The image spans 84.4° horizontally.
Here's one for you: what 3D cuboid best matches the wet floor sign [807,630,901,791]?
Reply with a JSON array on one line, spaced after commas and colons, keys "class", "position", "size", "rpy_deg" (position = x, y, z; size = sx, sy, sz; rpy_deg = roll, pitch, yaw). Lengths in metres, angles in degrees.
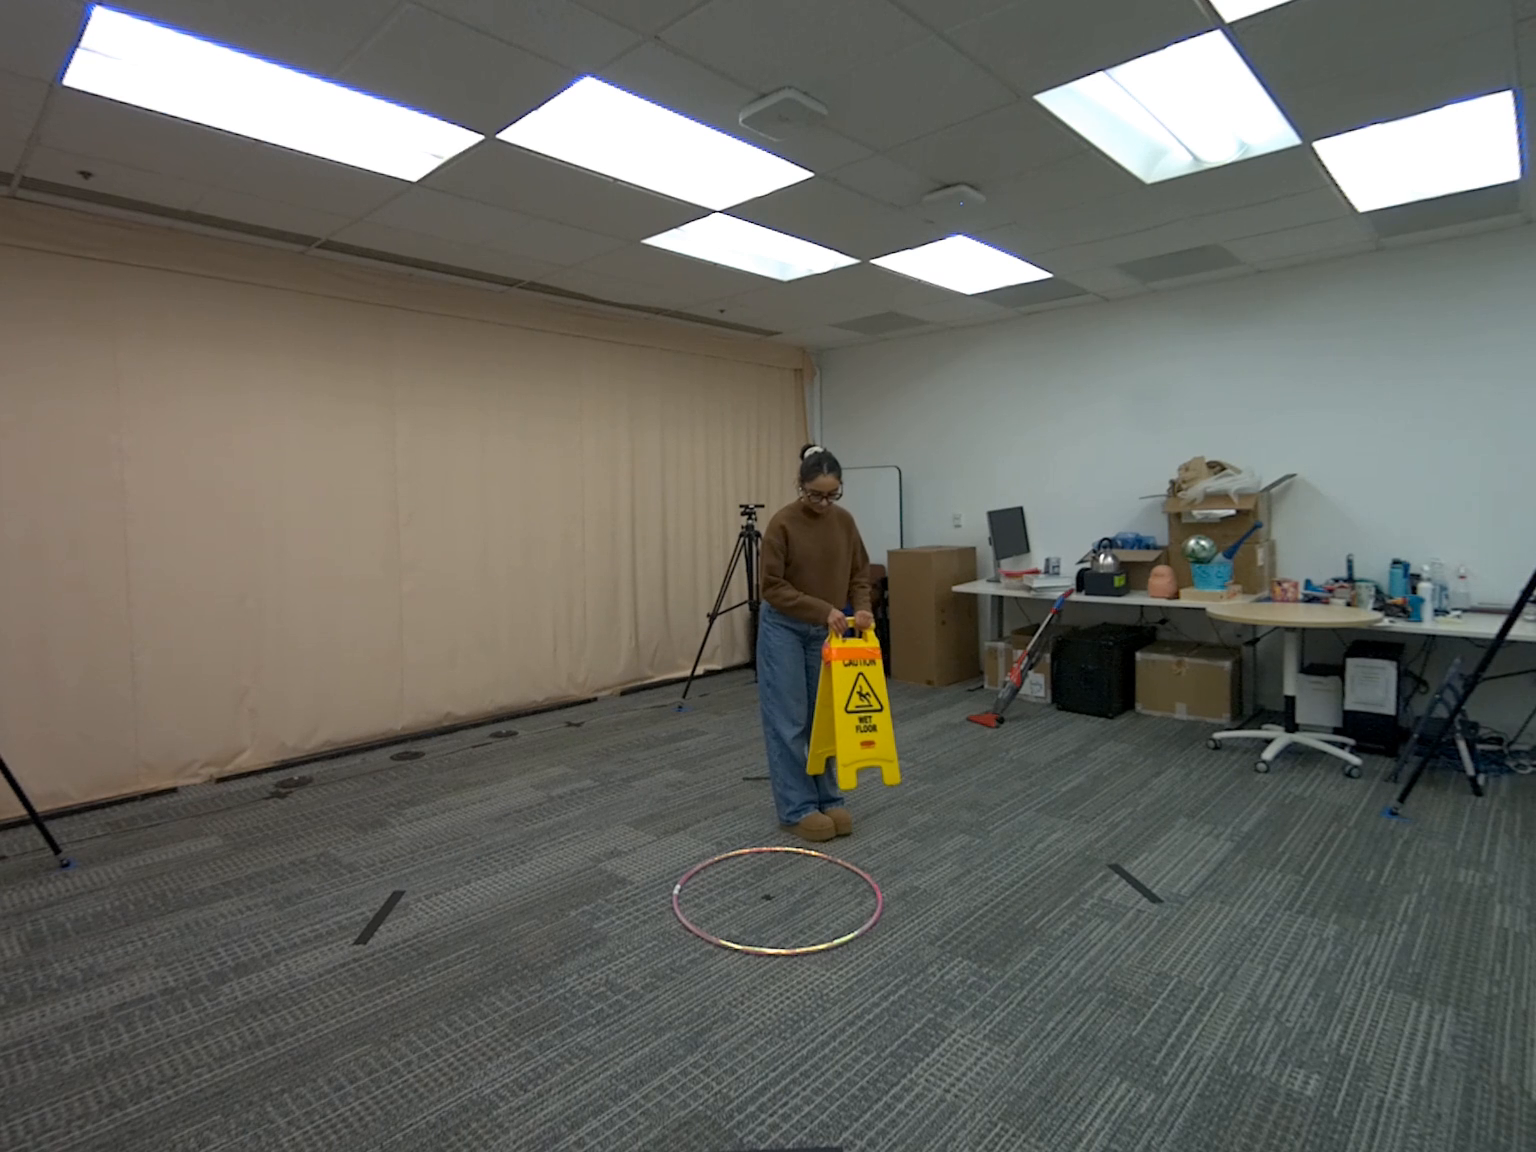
[{"class": "wet floor sign", "position": [0.348, 0.495, 3.414], "size": [0.276, 0.646, 0.296], "rpy_deg": [-1, -1, -23]}]
